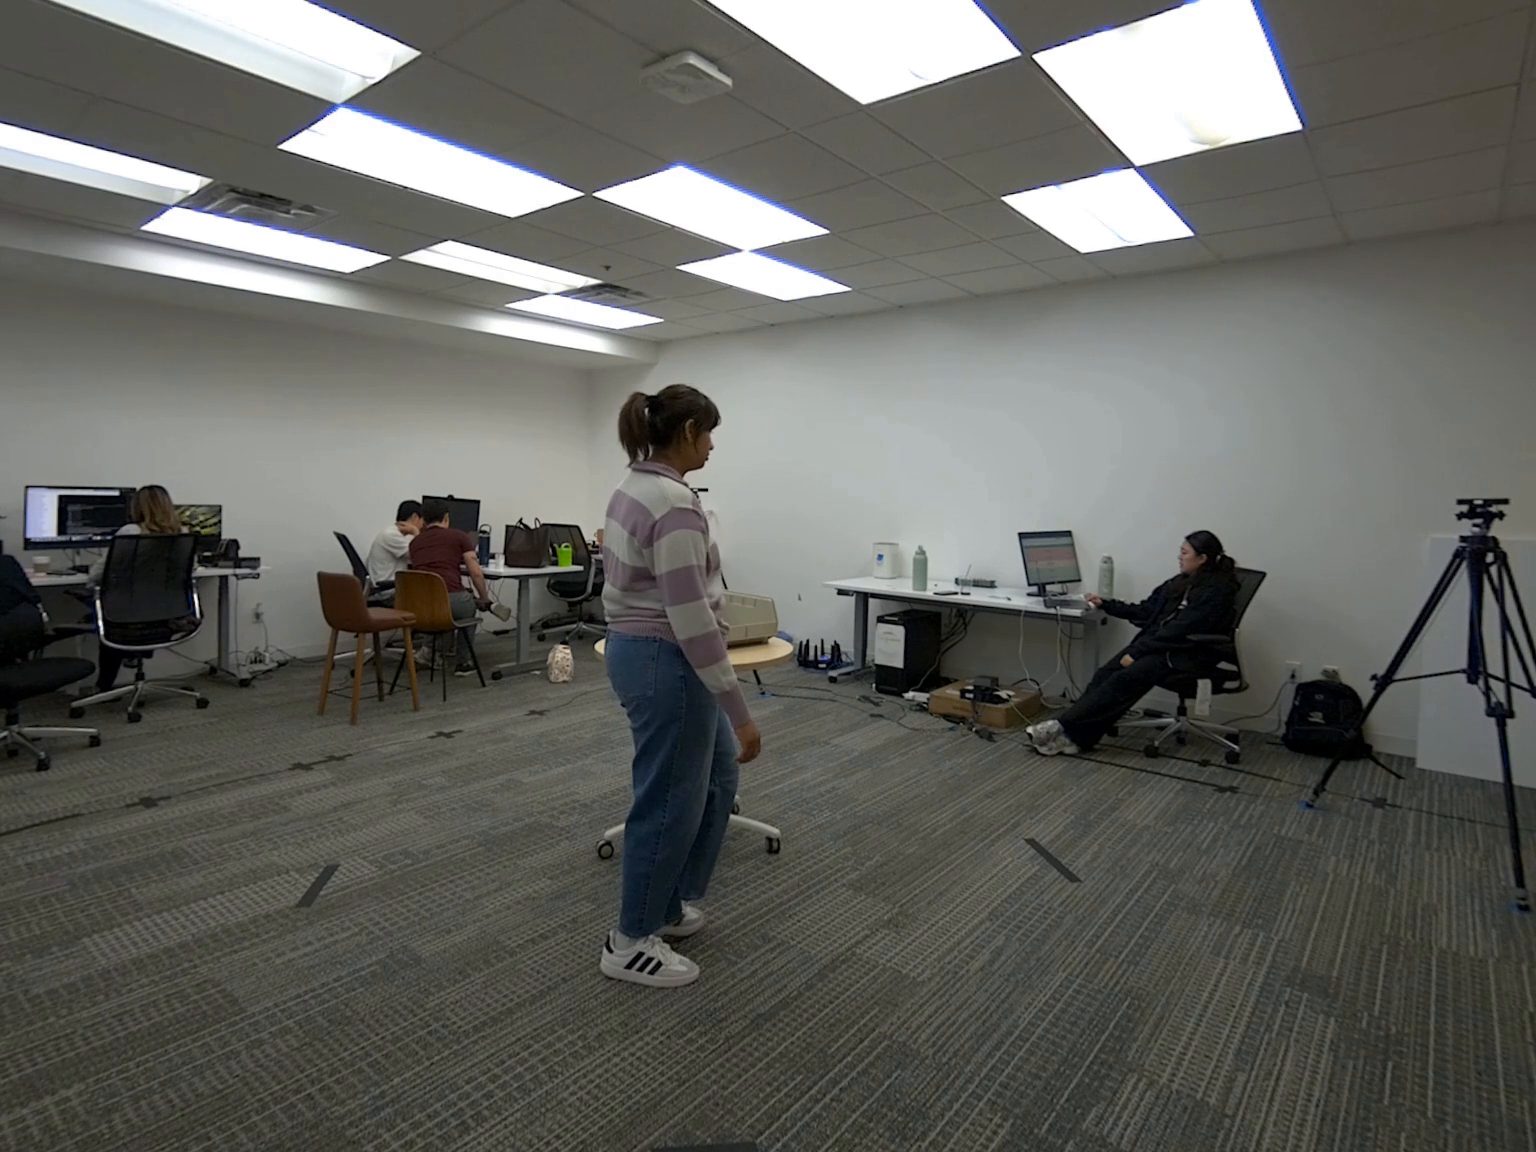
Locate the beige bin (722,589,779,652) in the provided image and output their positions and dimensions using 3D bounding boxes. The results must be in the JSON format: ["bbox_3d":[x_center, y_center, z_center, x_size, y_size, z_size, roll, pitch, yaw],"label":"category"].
[{"bbox_3d":[-0.245,0.172,3.356,0.410,0.188,0.390,-4,6,-39],"label":"beige bin"}]
